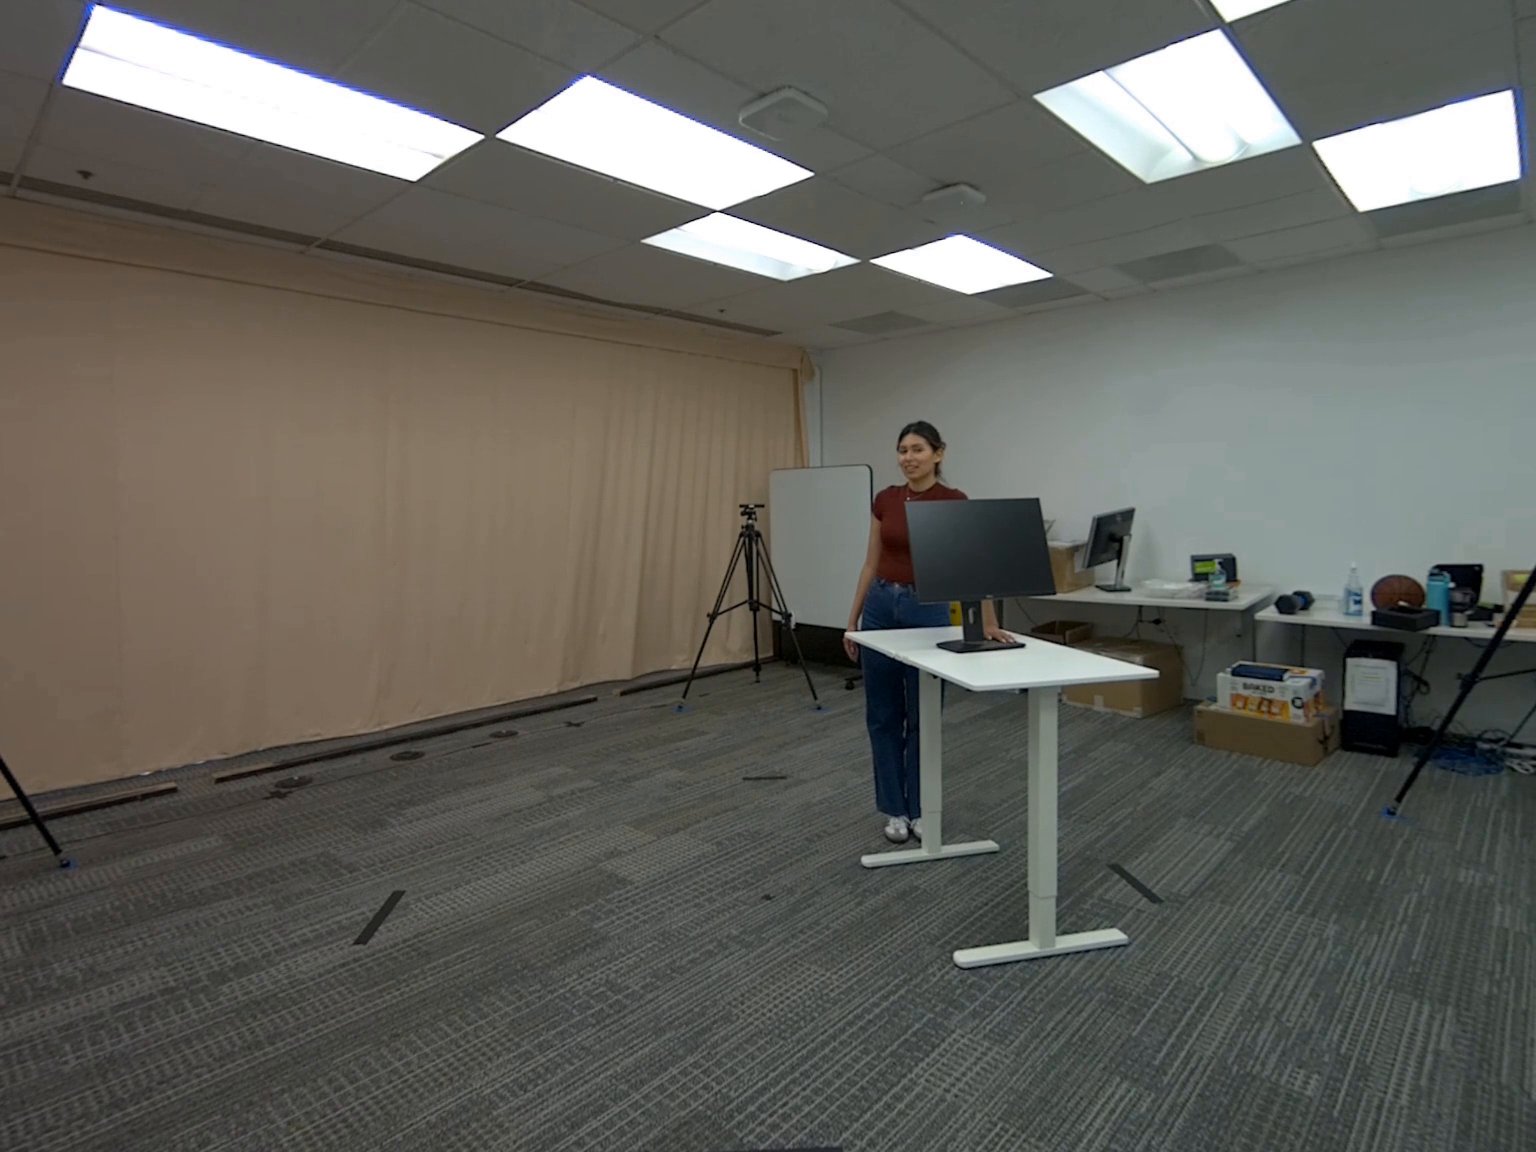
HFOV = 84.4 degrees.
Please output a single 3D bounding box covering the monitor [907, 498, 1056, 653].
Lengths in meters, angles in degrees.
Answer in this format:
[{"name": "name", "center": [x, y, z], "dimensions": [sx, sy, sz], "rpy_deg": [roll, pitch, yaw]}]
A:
[{"name": "monitor", "center": [0.735, -0.008, 2.938], "dimensions": [0.529, 0.522, 0.191], "rpy_deg": [-4, 1, -18]}]
